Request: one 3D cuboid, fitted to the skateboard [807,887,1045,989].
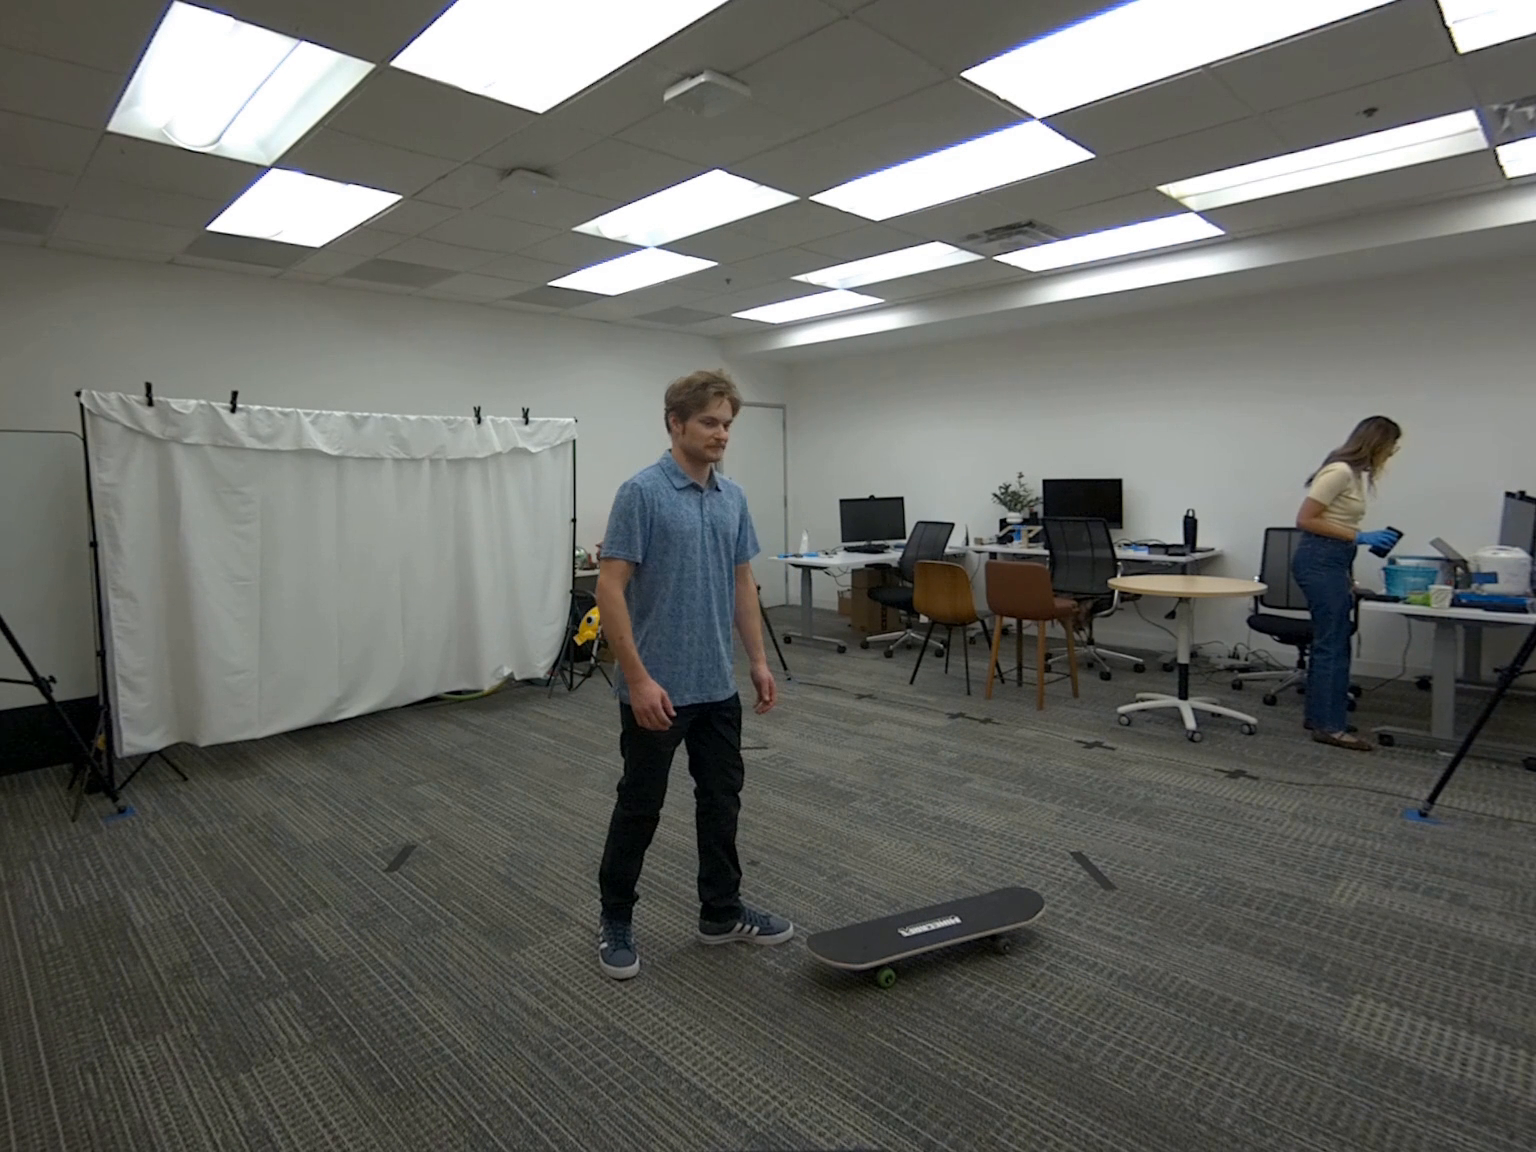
[{"bbox_3d":[0.464,1.045,2.491,0.771,0.110,0.198,-4,6,-20],"label":"skateboard"}]
